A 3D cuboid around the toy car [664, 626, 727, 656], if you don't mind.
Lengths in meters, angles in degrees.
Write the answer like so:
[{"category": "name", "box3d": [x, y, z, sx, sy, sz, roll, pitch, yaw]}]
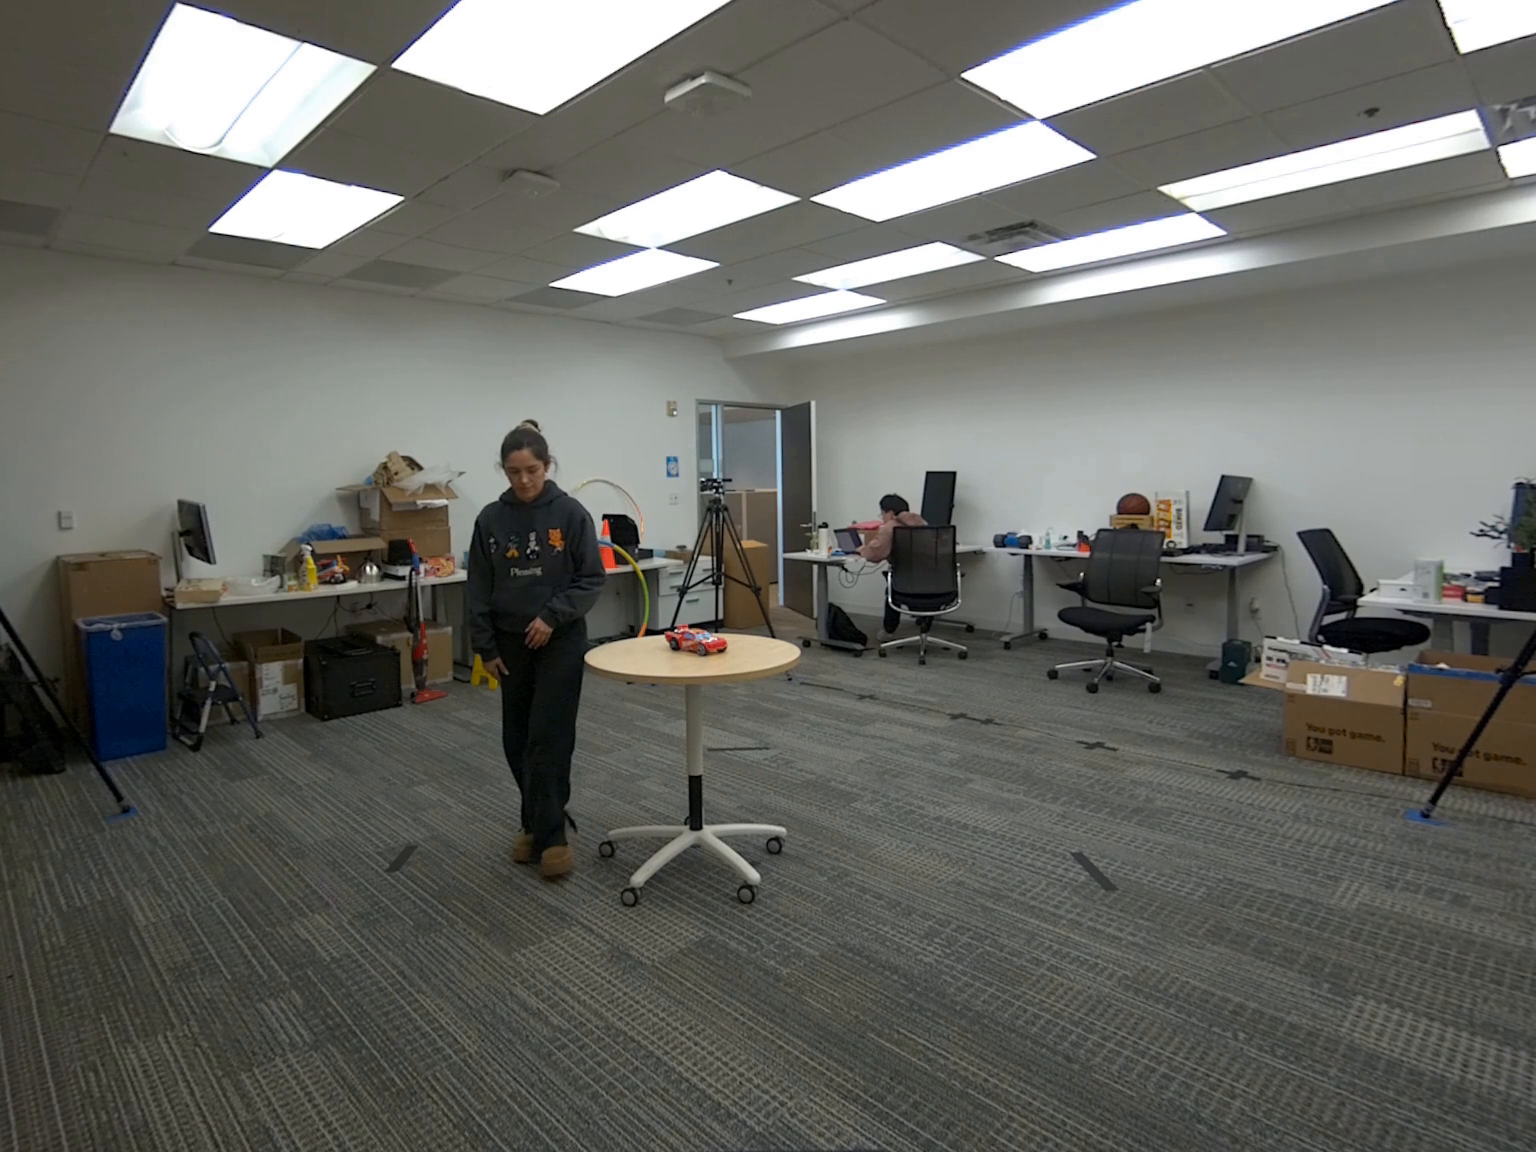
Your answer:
[{"category": "toy car", "box3d": [-0.264, 0.237, 3.067, 0.127, 0.082, 0.264, -6, 18, -45]}]
